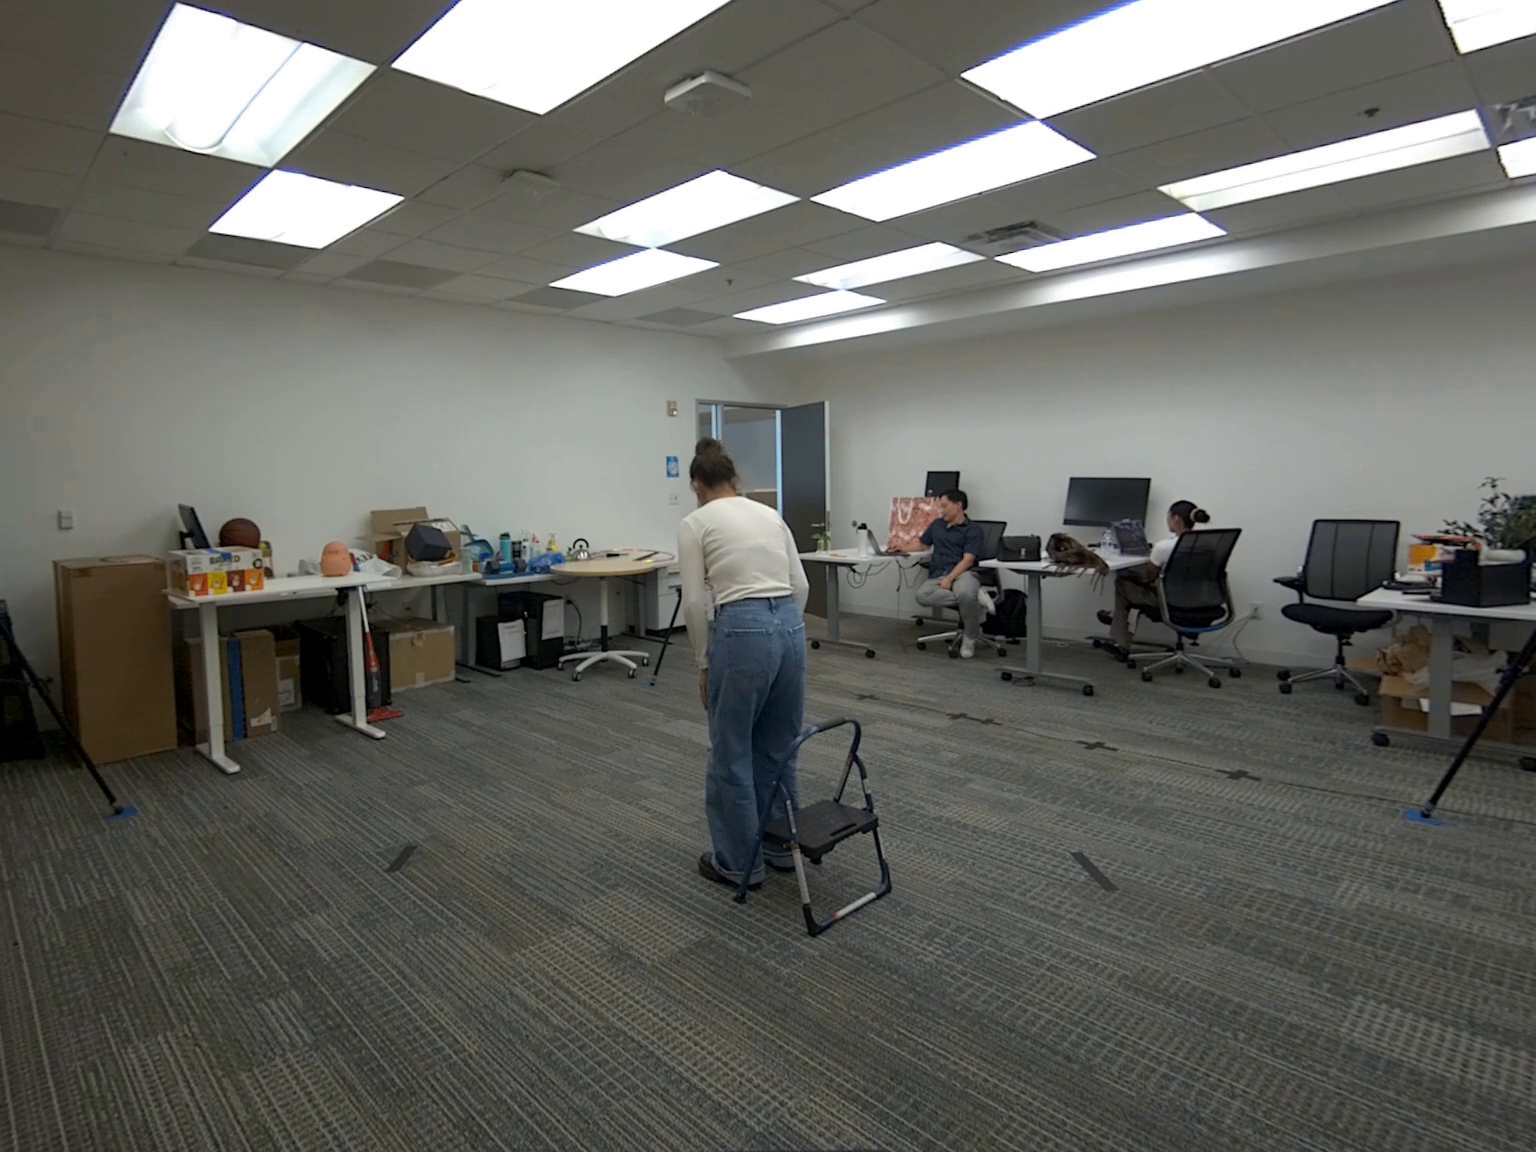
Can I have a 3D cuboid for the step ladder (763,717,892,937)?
[{"bbox_3d":[0.154,0.767,2.836,0.360,0.604,0.419,3,6,44],"label":"step ladder"}]
